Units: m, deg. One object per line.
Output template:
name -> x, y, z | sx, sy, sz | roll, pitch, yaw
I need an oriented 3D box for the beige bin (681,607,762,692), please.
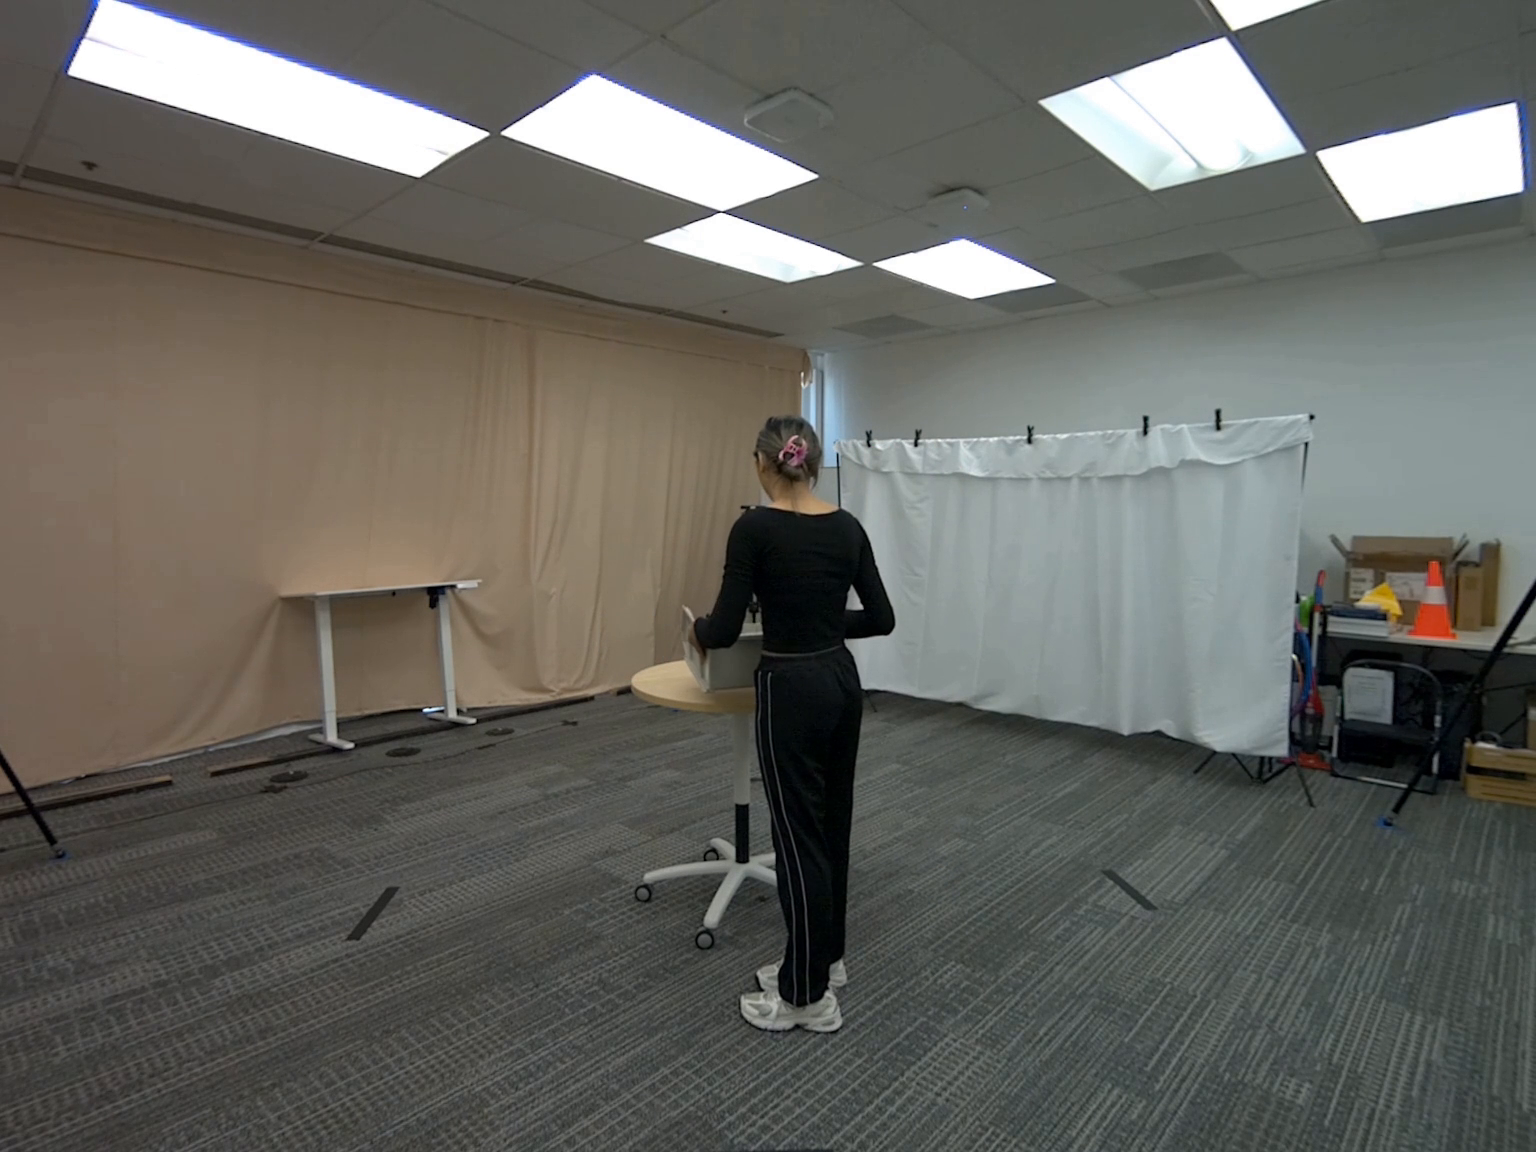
beige bin -> -0.050, 0.212, 2.691 | 0.416, 0.187, 0.386 | -4, 15, -14
